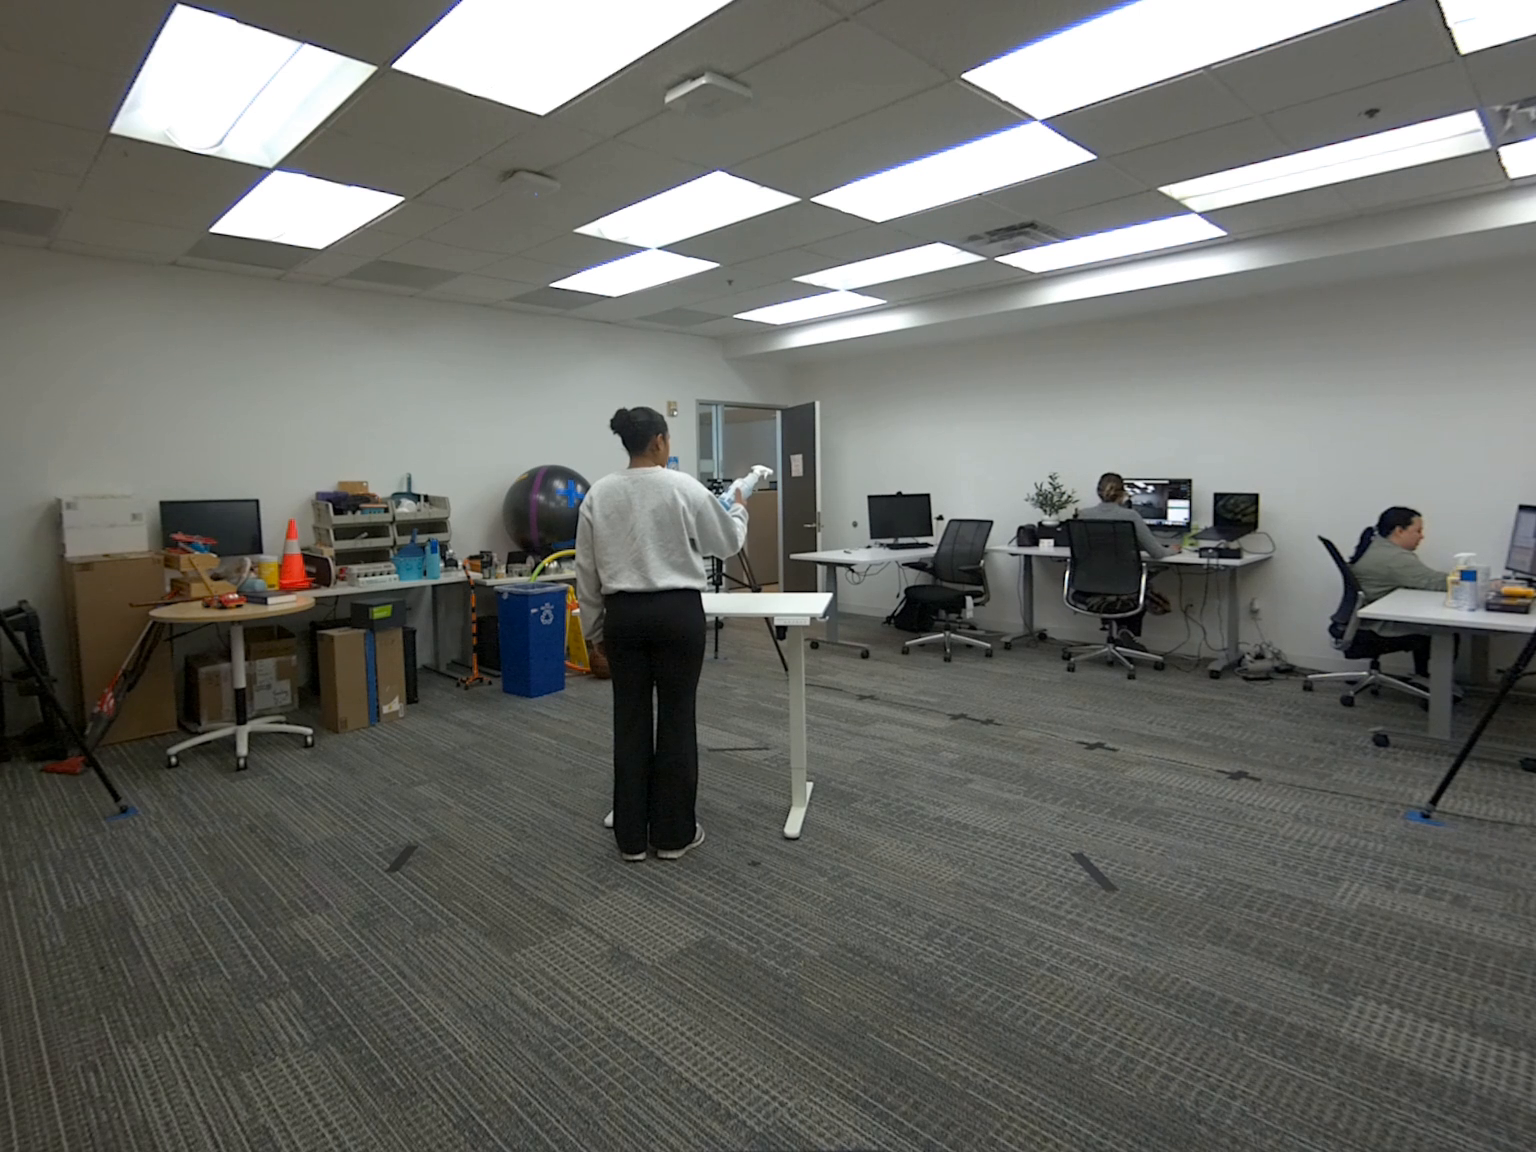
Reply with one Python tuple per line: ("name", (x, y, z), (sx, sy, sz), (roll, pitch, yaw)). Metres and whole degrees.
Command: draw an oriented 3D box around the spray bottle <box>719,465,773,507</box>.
("spray bottle", (-0.100, -0.361, 3.554), (0.093, 0.084, 0.297), (7, 46, 48))
